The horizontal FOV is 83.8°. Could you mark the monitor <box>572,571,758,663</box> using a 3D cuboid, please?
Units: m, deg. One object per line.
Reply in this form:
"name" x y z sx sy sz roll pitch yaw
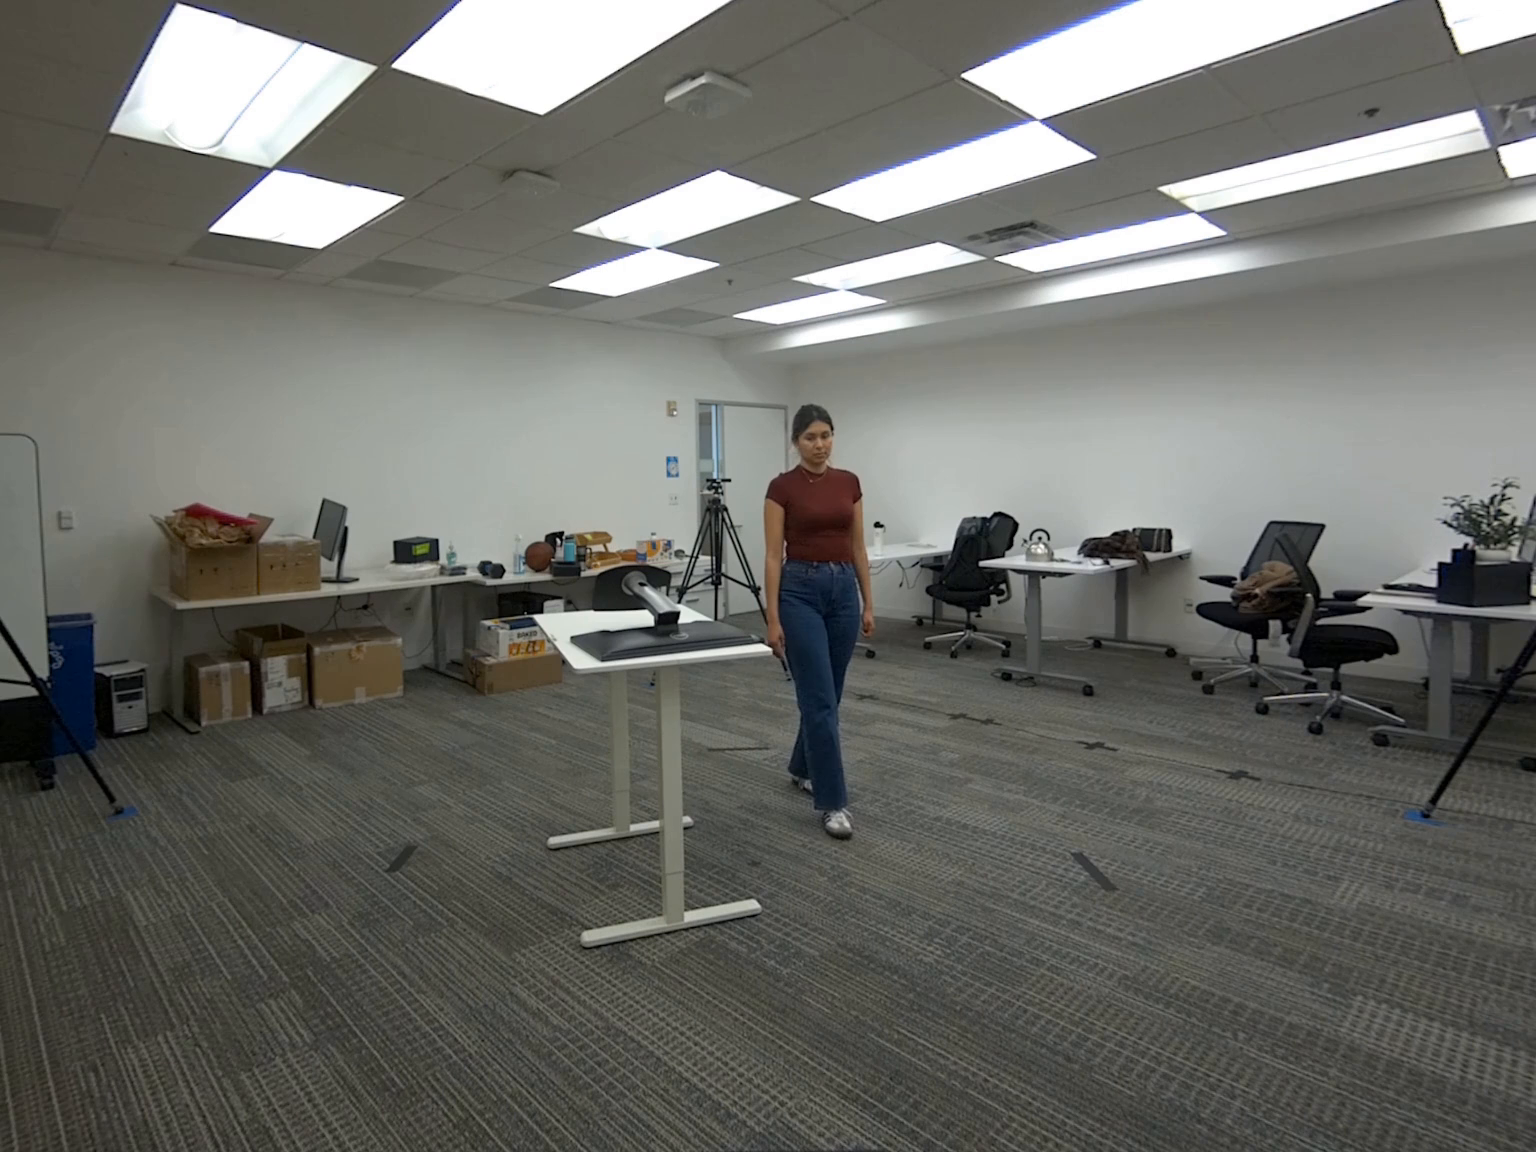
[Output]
"monitor" -0.361 0.140 2.800 0.528 0.184 0.542 -5 24 -25
